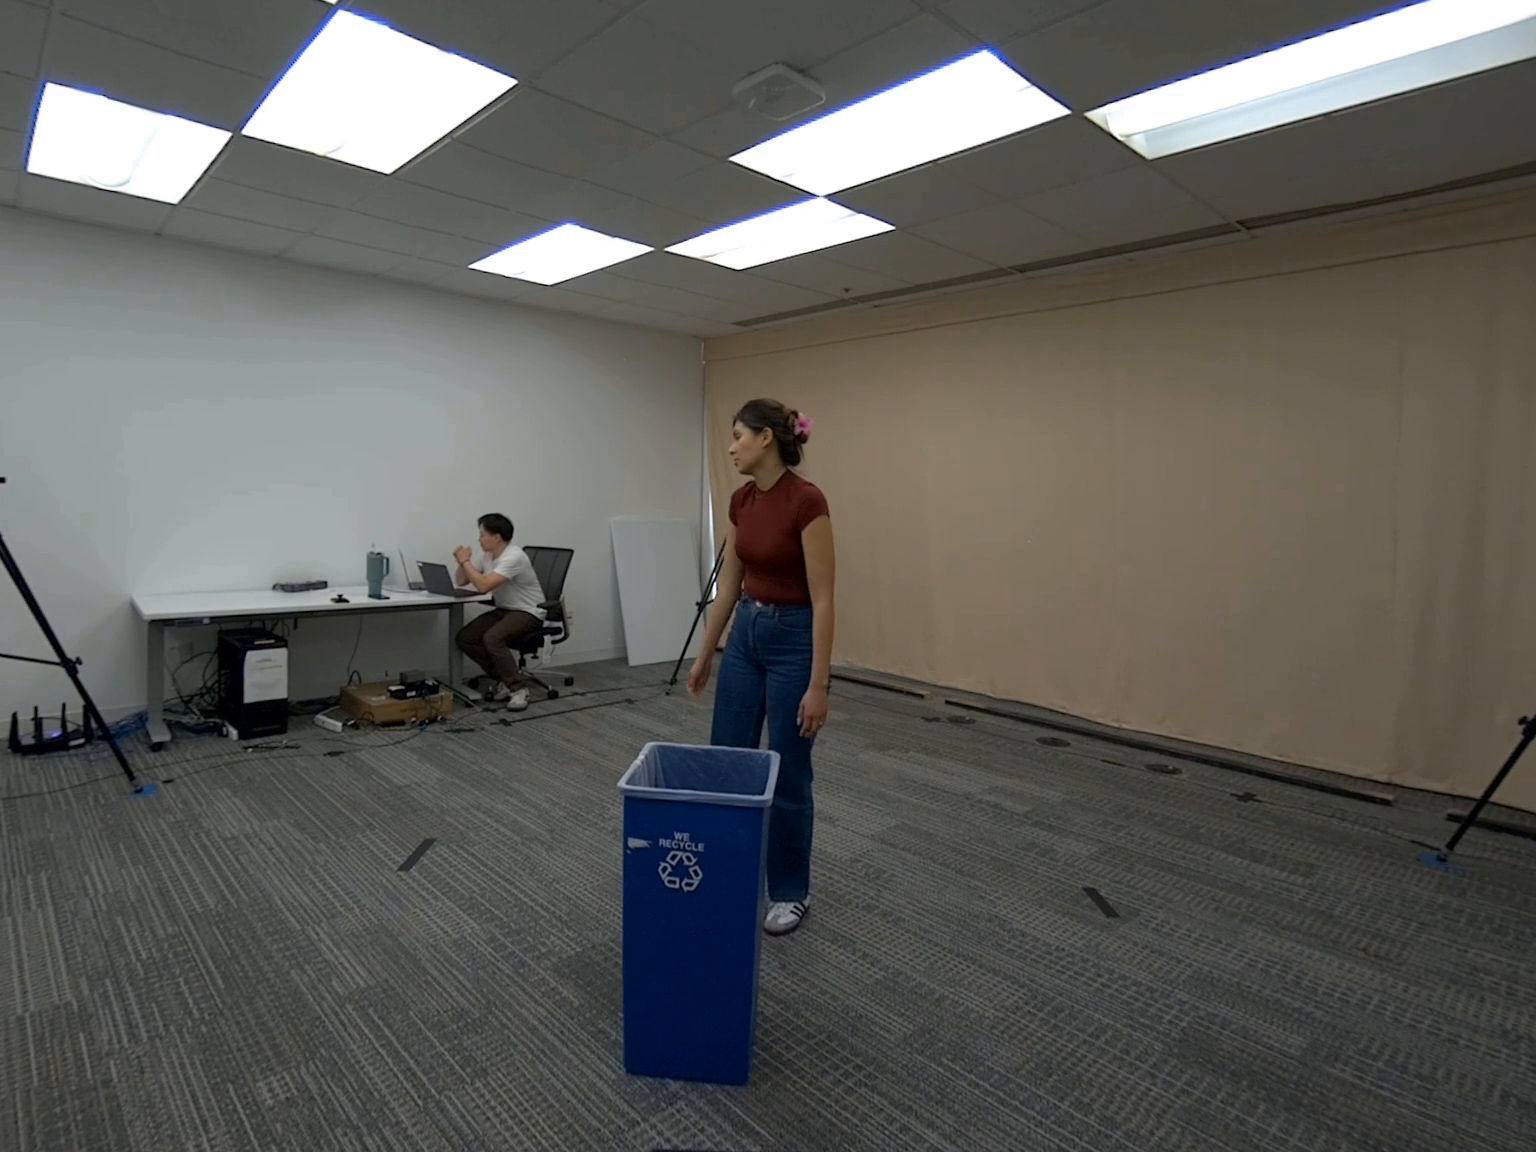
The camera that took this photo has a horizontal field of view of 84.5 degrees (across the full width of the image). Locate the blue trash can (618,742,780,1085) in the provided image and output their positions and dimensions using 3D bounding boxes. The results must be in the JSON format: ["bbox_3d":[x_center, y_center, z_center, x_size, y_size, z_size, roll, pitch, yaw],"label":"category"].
[{"bbox_3d":[-0.175,0.839,2.131,0.376,0.712,0.377,2,4,5],"label":"blue trash can"}]
